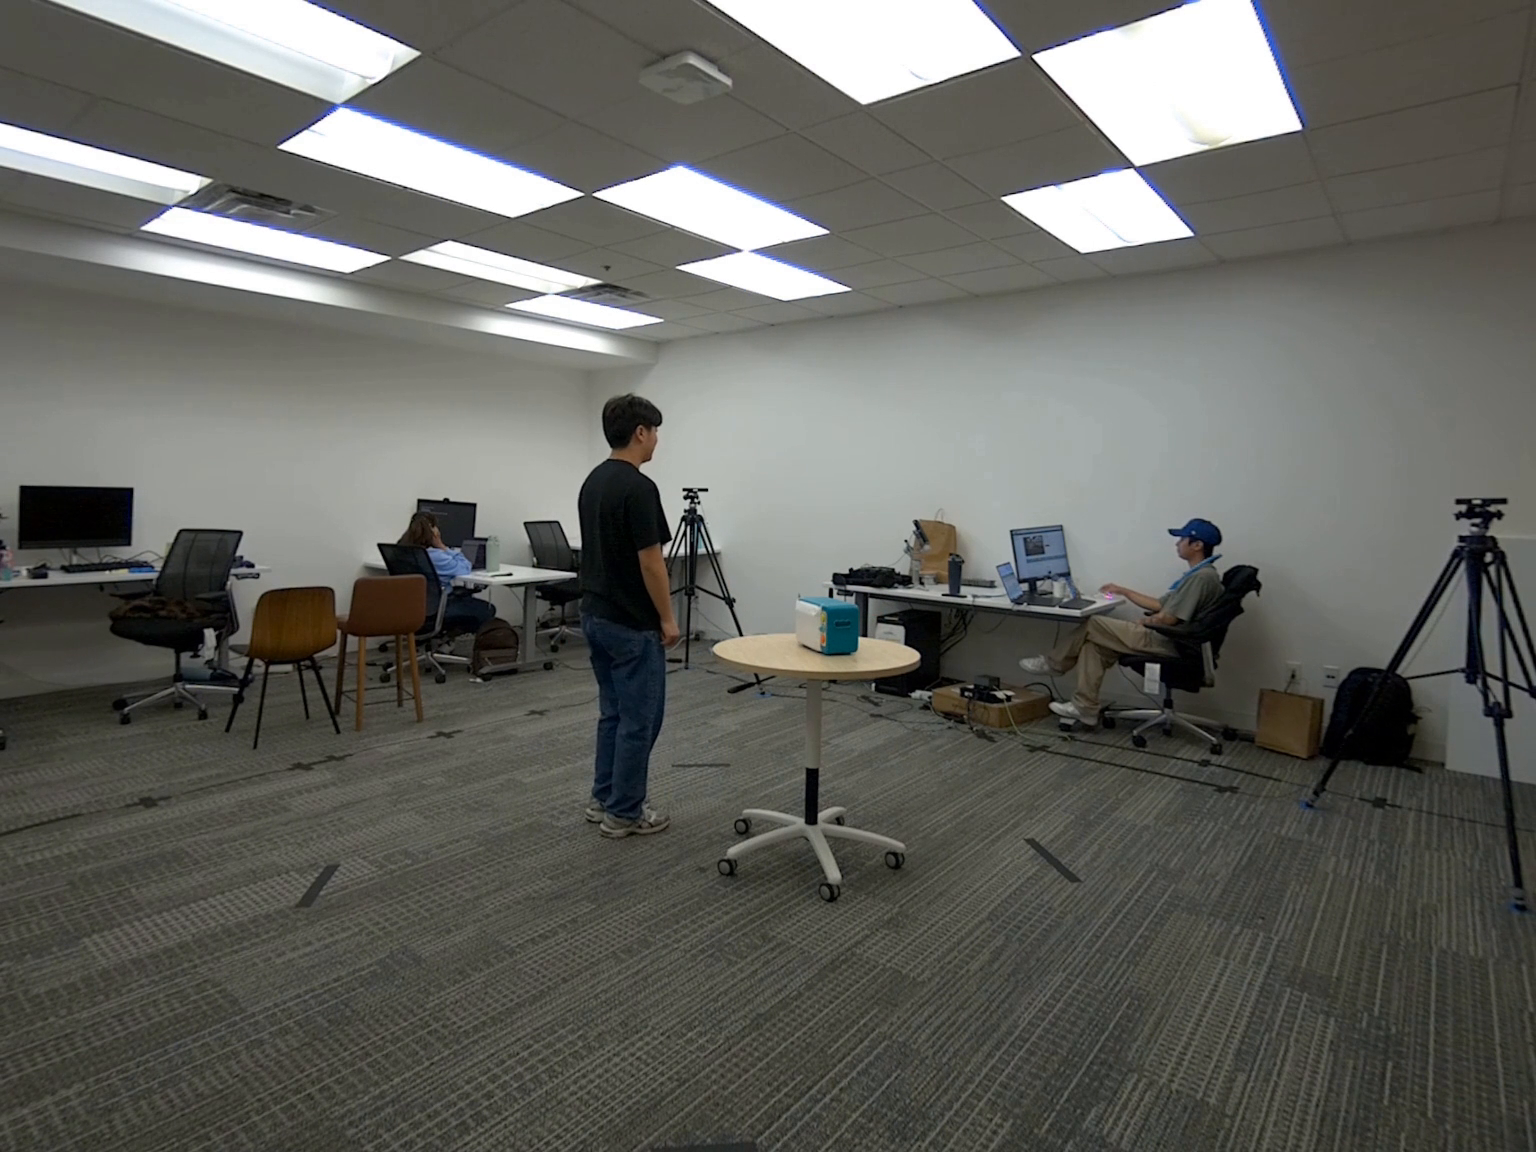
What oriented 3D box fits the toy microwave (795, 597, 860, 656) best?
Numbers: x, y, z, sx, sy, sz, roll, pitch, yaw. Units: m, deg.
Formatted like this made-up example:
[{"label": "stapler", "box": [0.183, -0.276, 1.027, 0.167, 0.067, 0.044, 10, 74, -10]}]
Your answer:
[{"label": "toy microwave", "box": [0.205, 0.179, 3.196, 0.149, 0.183, 0.292, -1, 5, -19]}]
